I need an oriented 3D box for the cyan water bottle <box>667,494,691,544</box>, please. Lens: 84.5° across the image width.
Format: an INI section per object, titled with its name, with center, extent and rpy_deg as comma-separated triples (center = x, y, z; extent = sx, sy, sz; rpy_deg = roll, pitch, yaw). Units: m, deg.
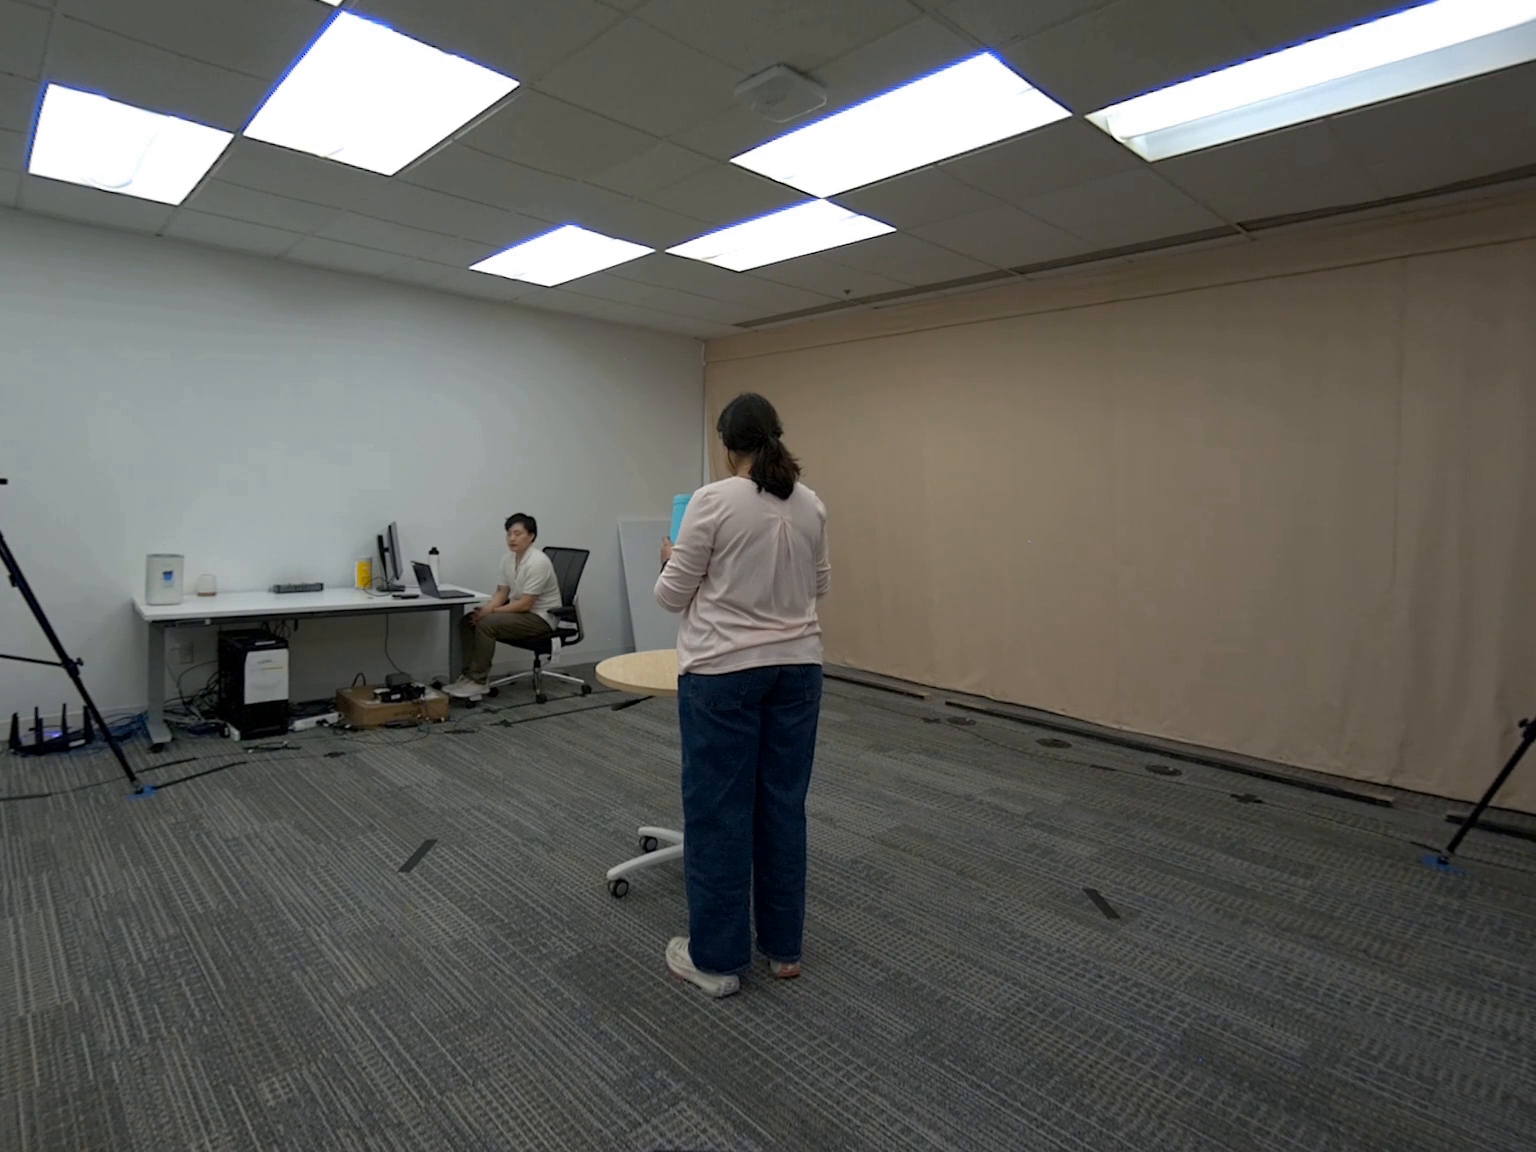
[cyan water bottle]
center = -0.272, -0.113, 2.725
extent = 0.092, 0.286, 0.091
rpy_deg = 0, -12, -1
